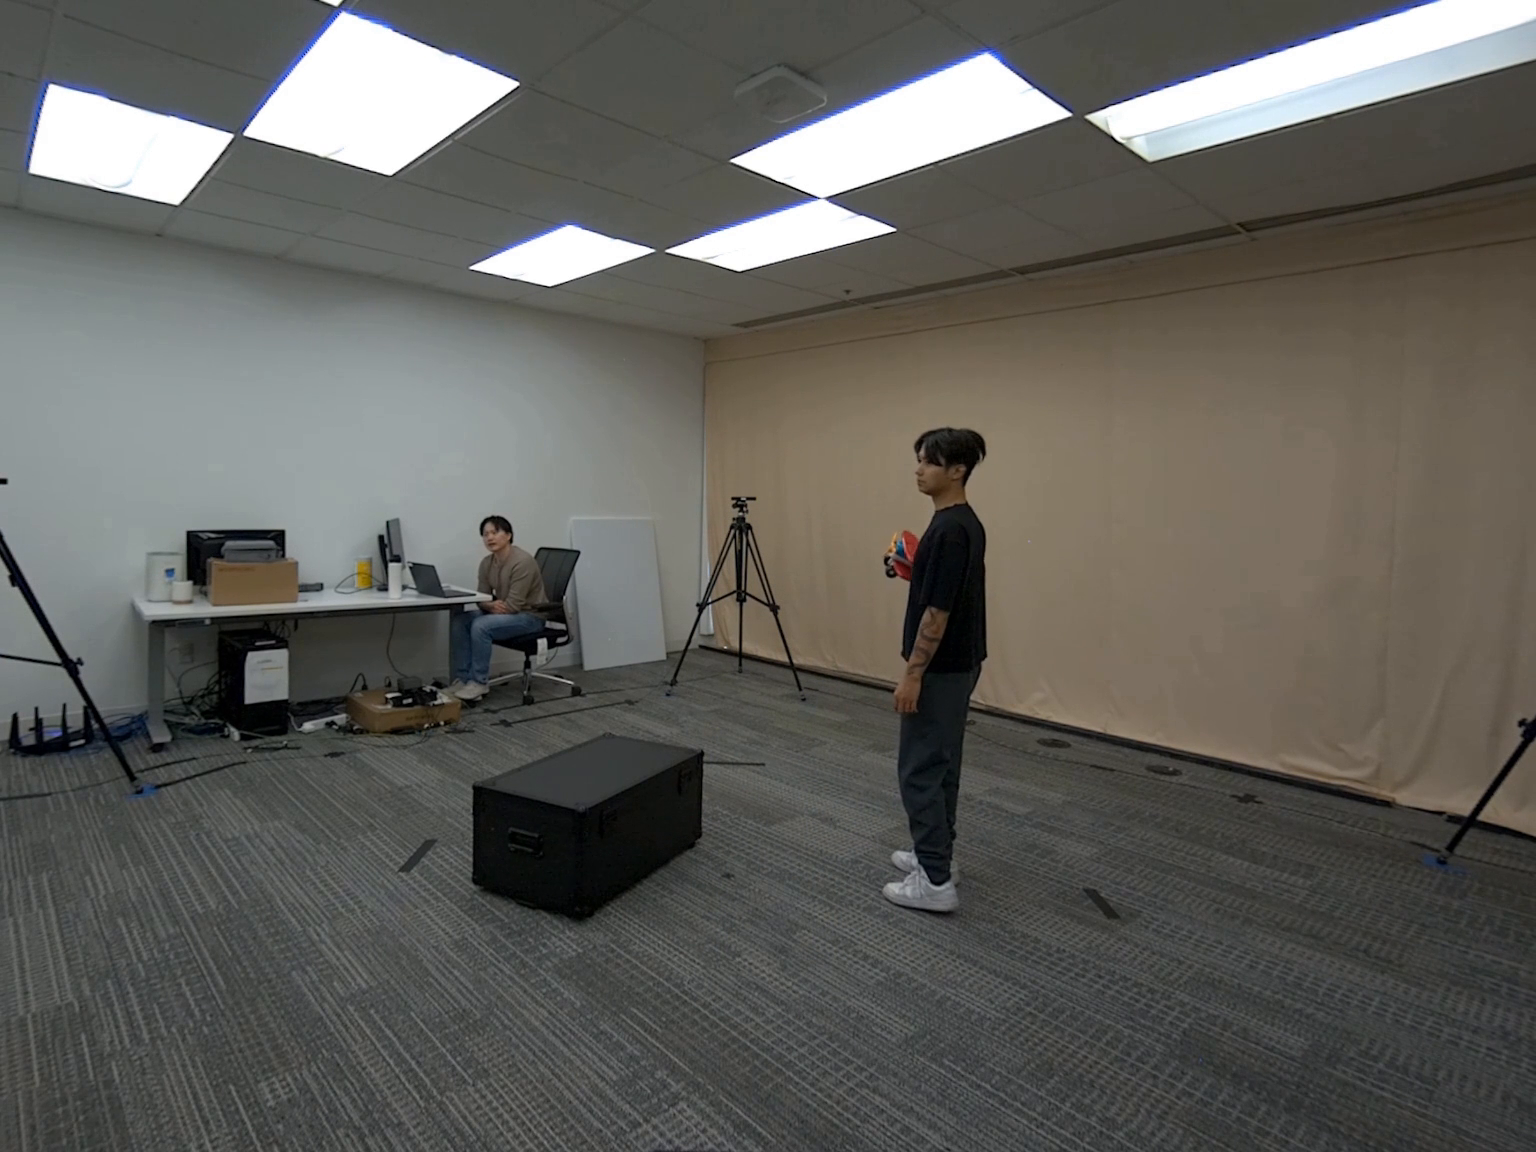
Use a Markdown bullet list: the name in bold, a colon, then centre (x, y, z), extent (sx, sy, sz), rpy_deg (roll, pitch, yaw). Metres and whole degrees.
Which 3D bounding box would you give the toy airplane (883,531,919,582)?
- **toy airplane**: centre (0.614, -0.079, 3.591), extent (0.254, 0.154, 0.259), rpy_deg (-3, 39, -28)
